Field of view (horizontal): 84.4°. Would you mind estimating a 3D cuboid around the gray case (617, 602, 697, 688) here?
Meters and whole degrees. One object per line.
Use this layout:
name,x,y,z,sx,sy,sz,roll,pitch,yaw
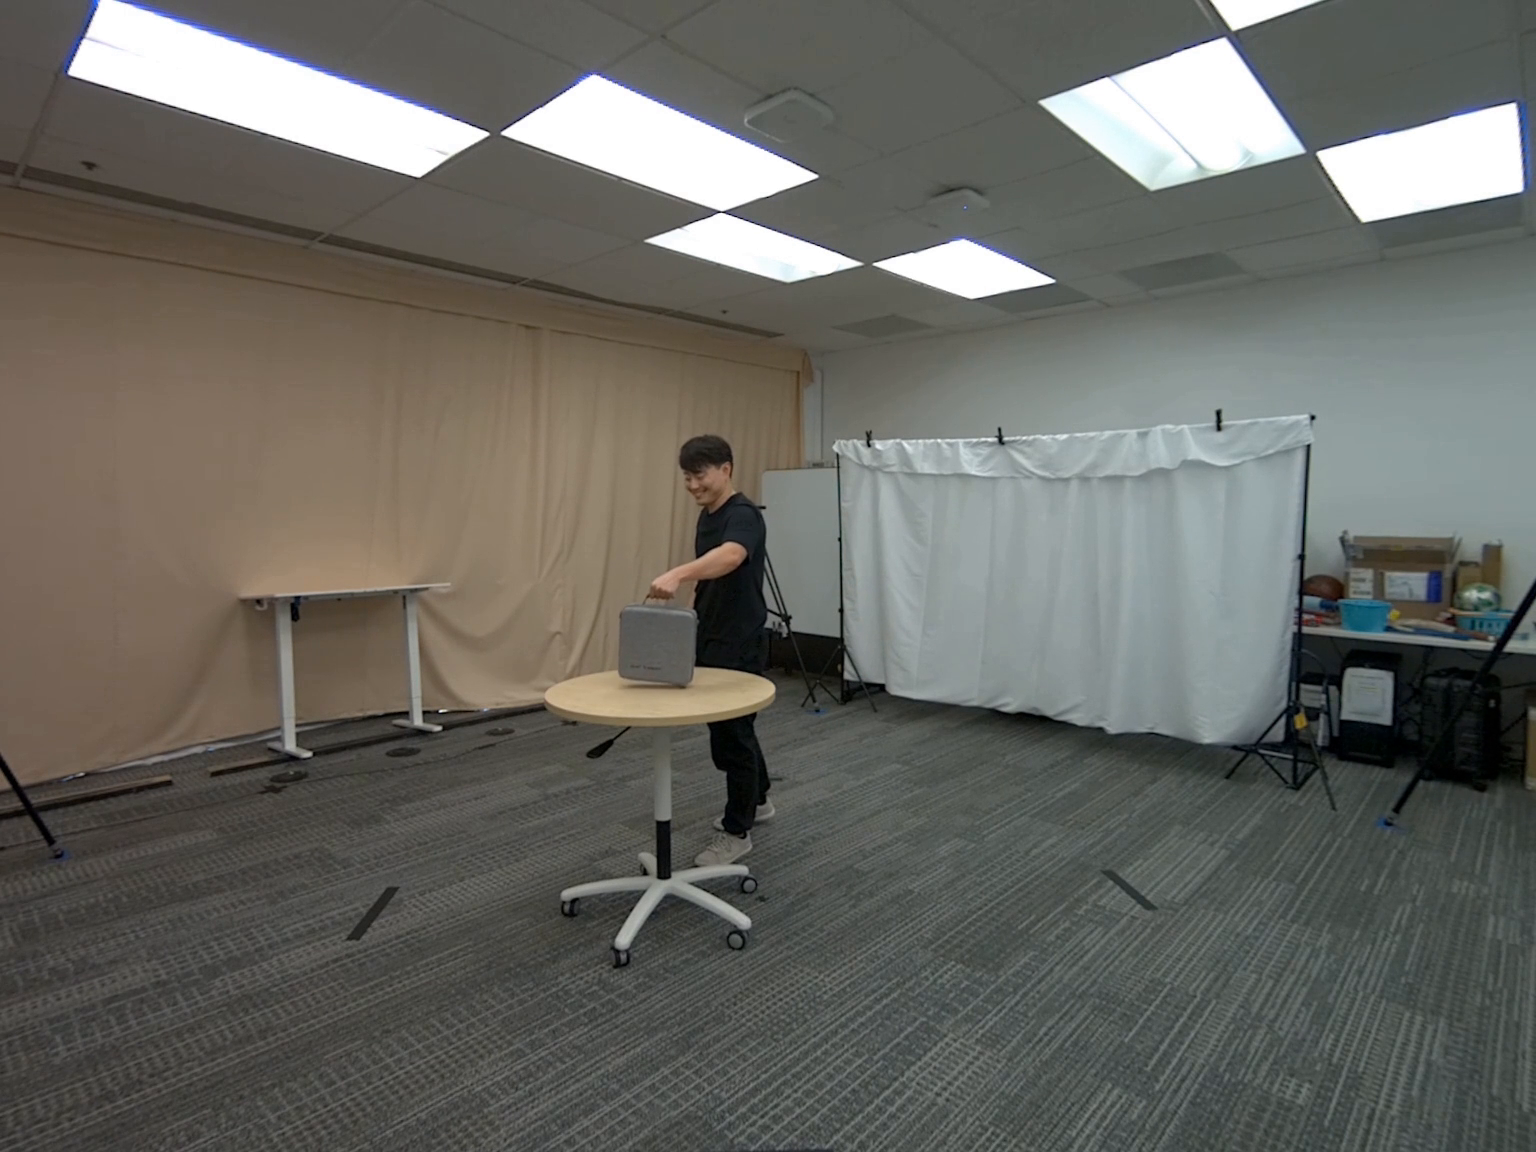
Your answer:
gray case,-0.371,0.217,2.836,0.258,0.260,0.104,5,6,5
